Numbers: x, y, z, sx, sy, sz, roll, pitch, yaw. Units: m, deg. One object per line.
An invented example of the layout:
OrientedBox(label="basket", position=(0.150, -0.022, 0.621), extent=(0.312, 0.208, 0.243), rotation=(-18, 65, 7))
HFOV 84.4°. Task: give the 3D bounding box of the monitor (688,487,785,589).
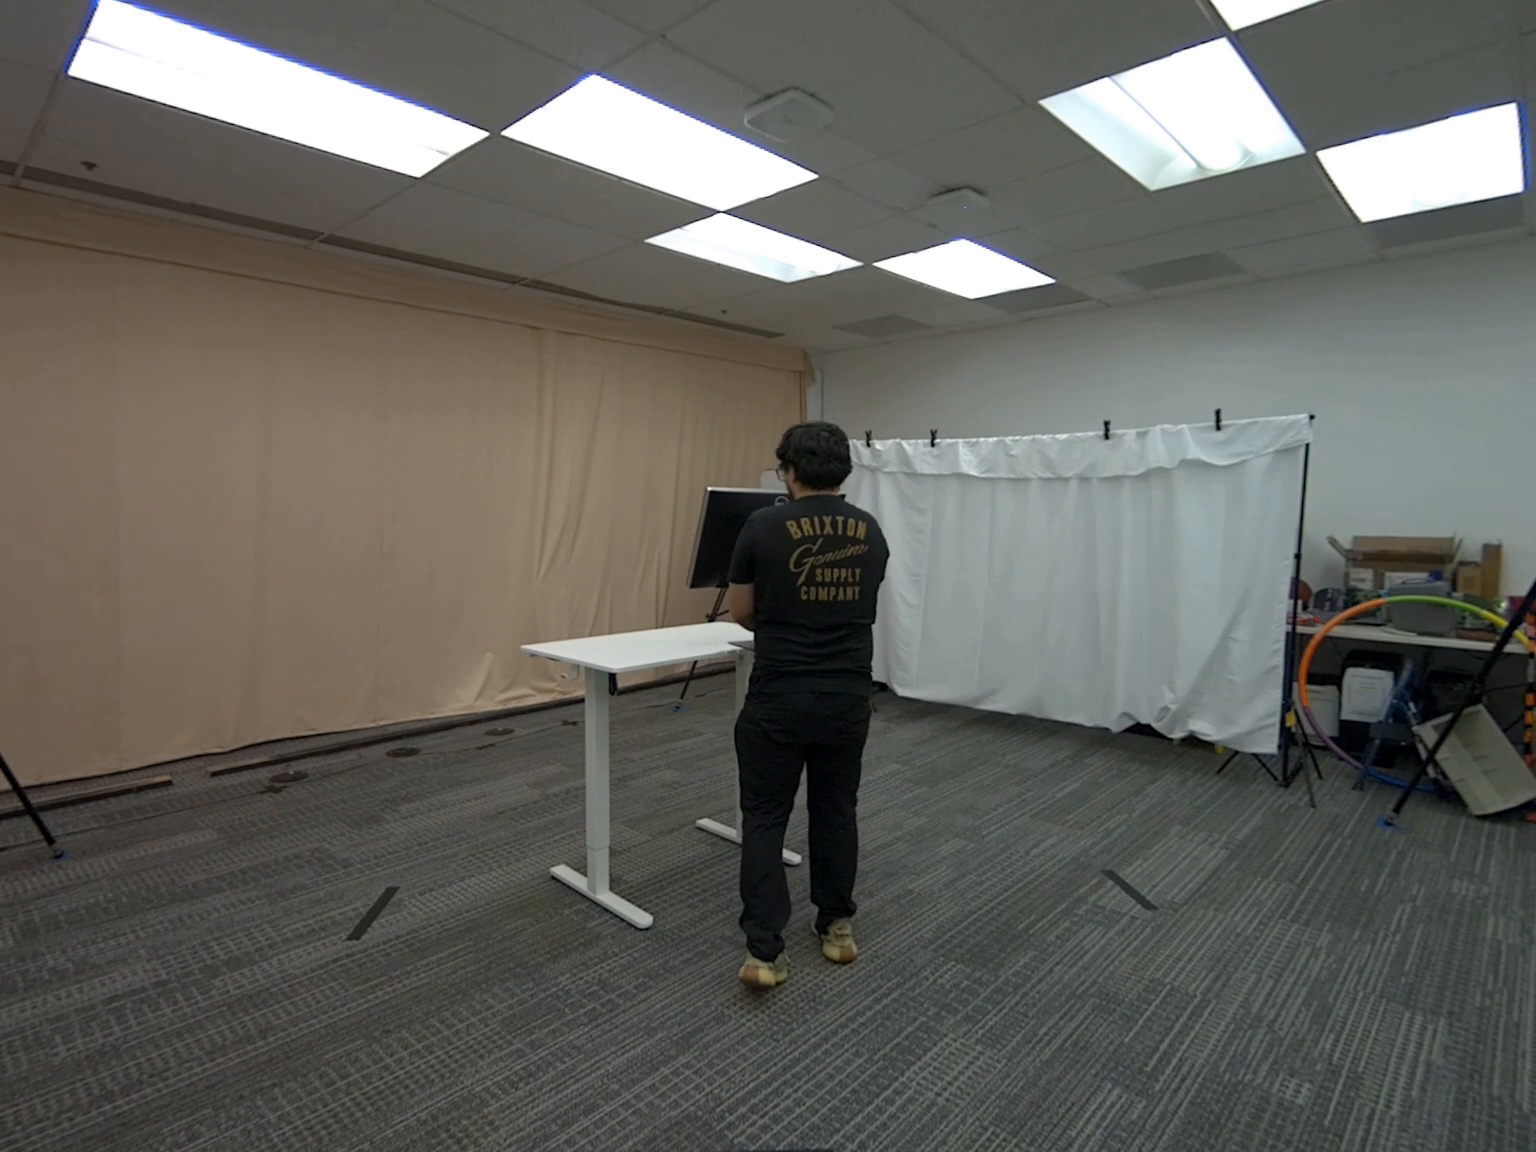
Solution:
OrientedBox(label="monitor", position=(0.028, -0.020, 2.882), extent=(0.550, 0.550, 0.217), rotation=(-1, 17, -31))
